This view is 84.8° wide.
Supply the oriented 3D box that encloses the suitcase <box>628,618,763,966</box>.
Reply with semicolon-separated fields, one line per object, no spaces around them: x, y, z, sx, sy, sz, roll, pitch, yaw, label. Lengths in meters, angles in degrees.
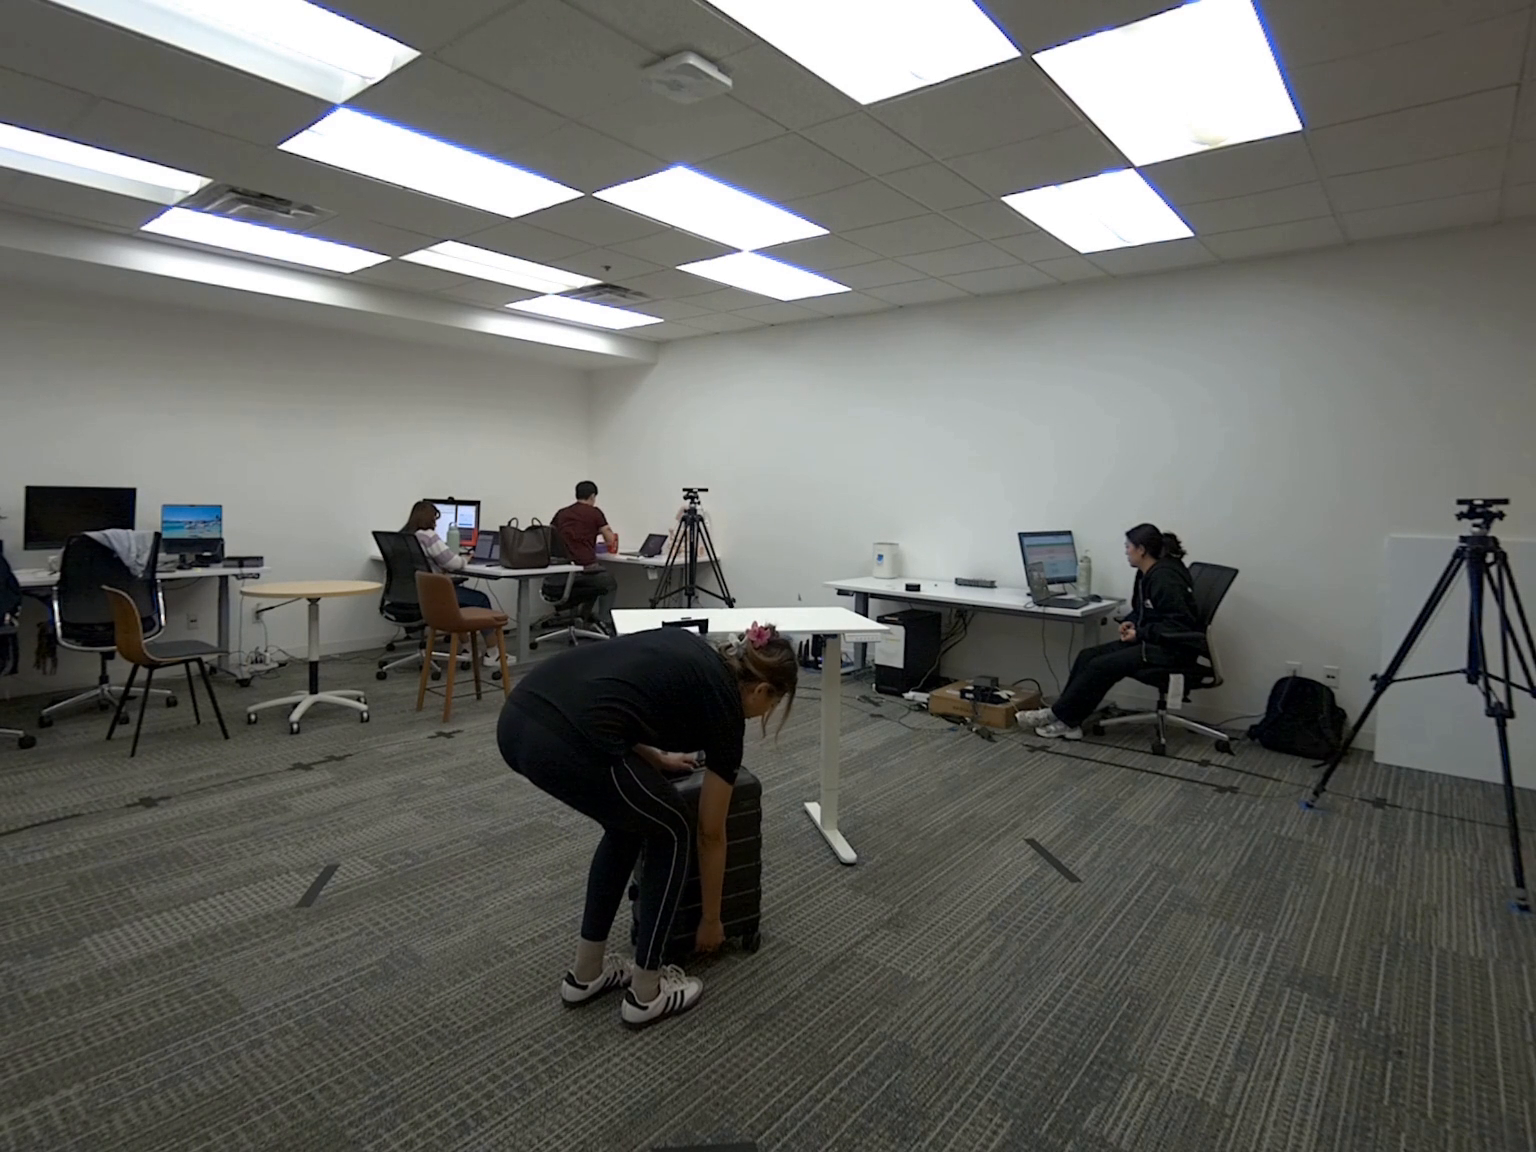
-0.205;0.639;2.587;0.374;0.975;0.264;0;4;-27;suitcase
